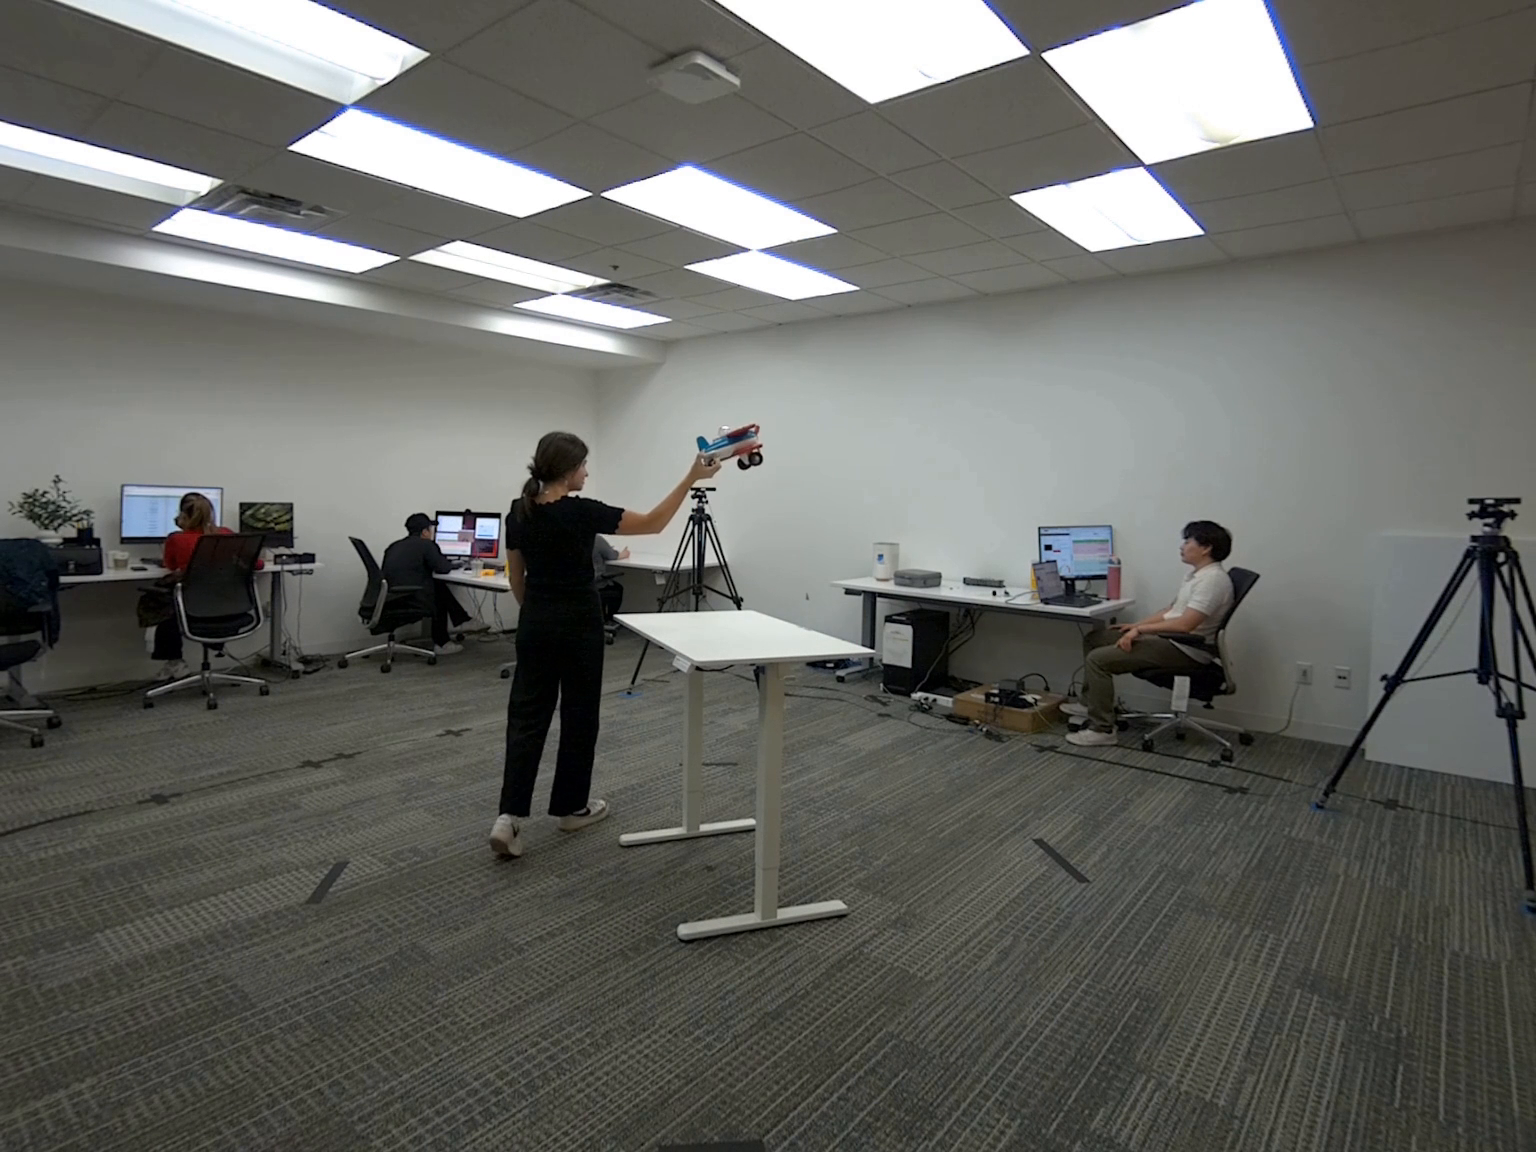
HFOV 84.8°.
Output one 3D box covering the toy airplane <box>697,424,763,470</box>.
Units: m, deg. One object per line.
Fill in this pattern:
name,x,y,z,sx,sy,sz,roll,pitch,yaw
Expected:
toy airplane,-0.146,-0.482,3.203,0.257,0.157,0.252,-9,-2,32
